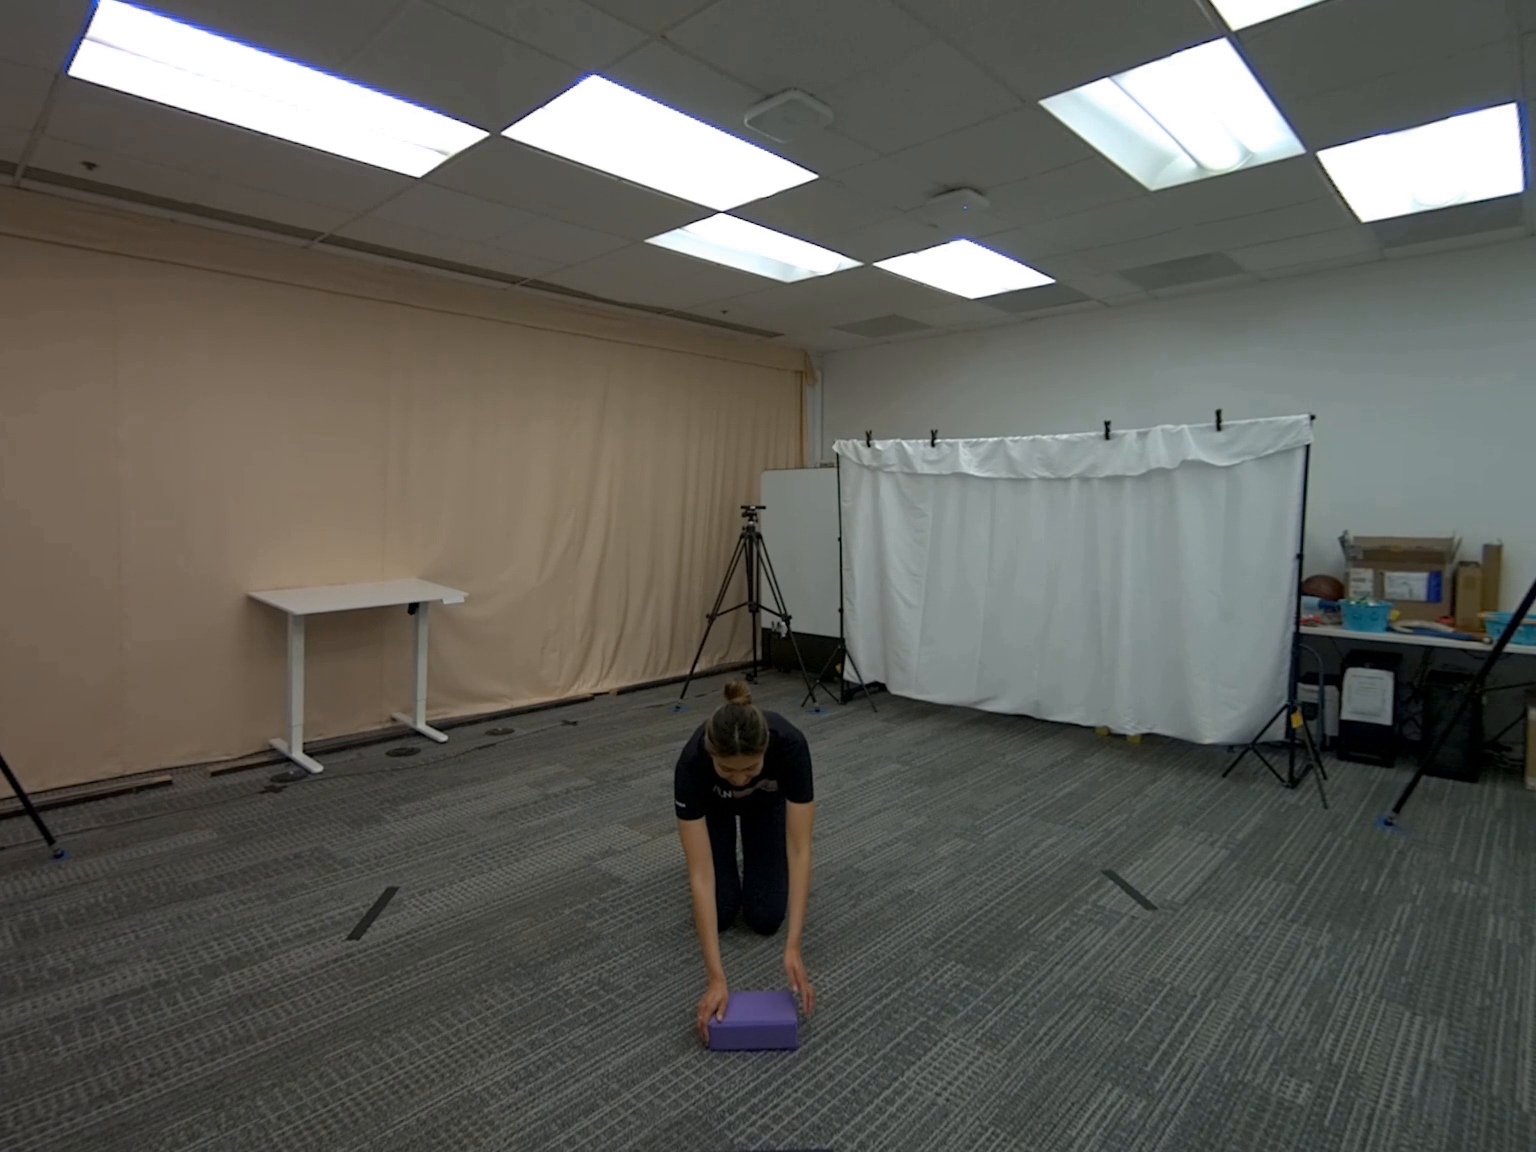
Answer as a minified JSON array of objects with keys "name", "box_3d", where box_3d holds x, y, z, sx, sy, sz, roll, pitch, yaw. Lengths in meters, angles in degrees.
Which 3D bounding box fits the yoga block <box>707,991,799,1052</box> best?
[{"name":"yoga block","box_3d":[-0.042,1.161,2.221,0.229,0.076,0.150,-3,6,-1]}]
